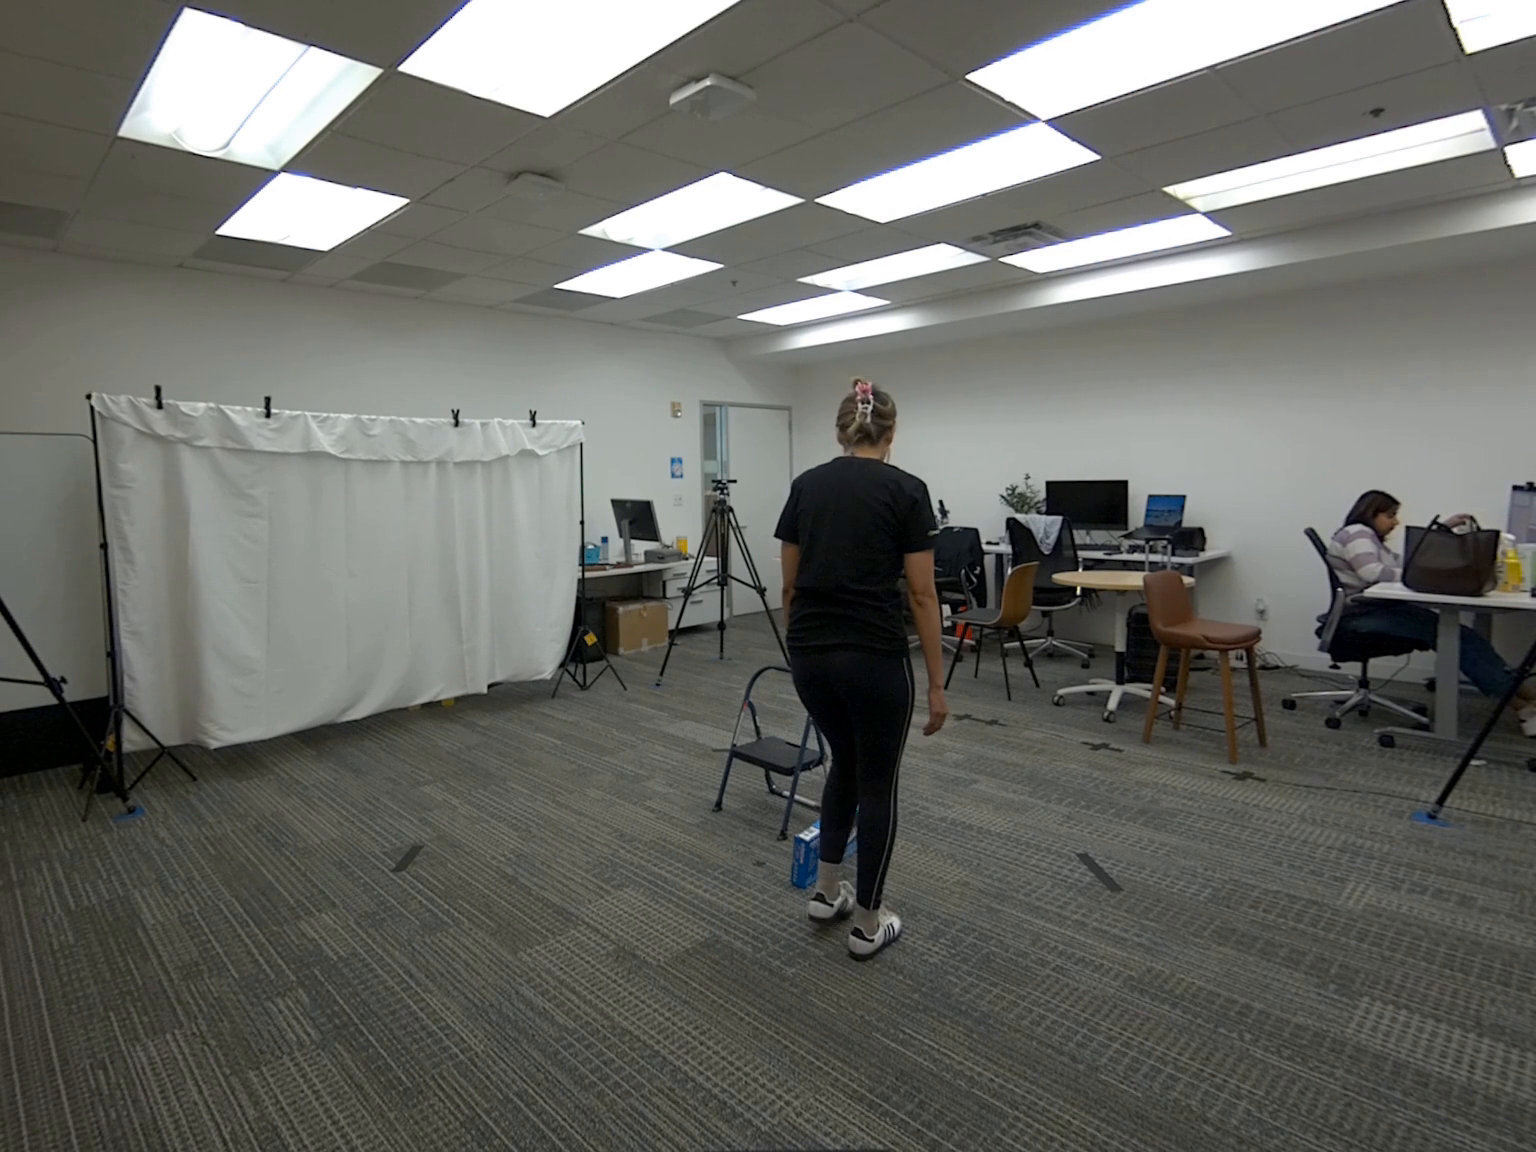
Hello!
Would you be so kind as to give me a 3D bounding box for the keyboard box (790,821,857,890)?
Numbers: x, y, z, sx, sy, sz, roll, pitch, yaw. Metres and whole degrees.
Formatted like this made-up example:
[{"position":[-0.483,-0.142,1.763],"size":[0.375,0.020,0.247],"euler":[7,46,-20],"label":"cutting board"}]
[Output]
[{"position":[0.234,0.960,3.091],"size":[0.061,0.175,0.427],"euler":[8,10,33],"label":"keyboard box"}]
